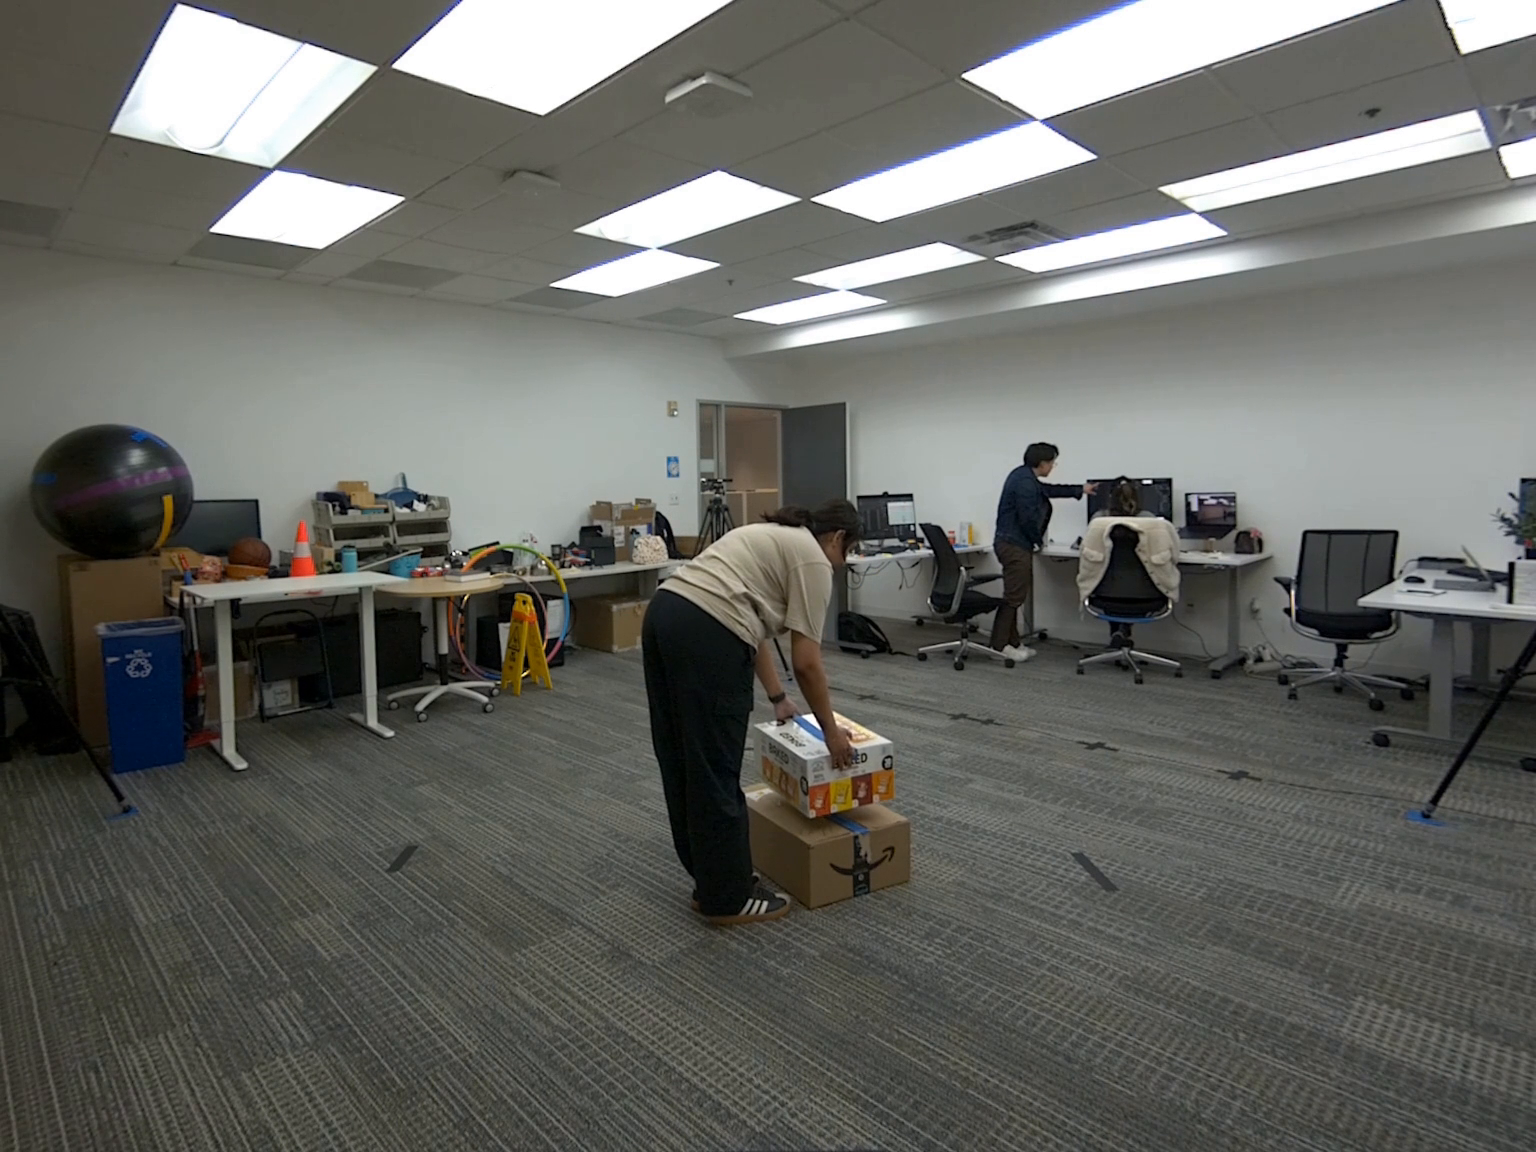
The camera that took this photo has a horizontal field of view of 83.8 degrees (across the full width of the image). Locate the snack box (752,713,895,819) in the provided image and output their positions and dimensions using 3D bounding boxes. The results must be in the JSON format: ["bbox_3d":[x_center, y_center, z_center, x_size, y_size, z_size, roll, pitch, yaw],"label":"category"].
[{"bbox_3d":[0.190,0.661,3.062,0.333,0.204,0.416,-5,9,-25],"label":"snack box"}]
